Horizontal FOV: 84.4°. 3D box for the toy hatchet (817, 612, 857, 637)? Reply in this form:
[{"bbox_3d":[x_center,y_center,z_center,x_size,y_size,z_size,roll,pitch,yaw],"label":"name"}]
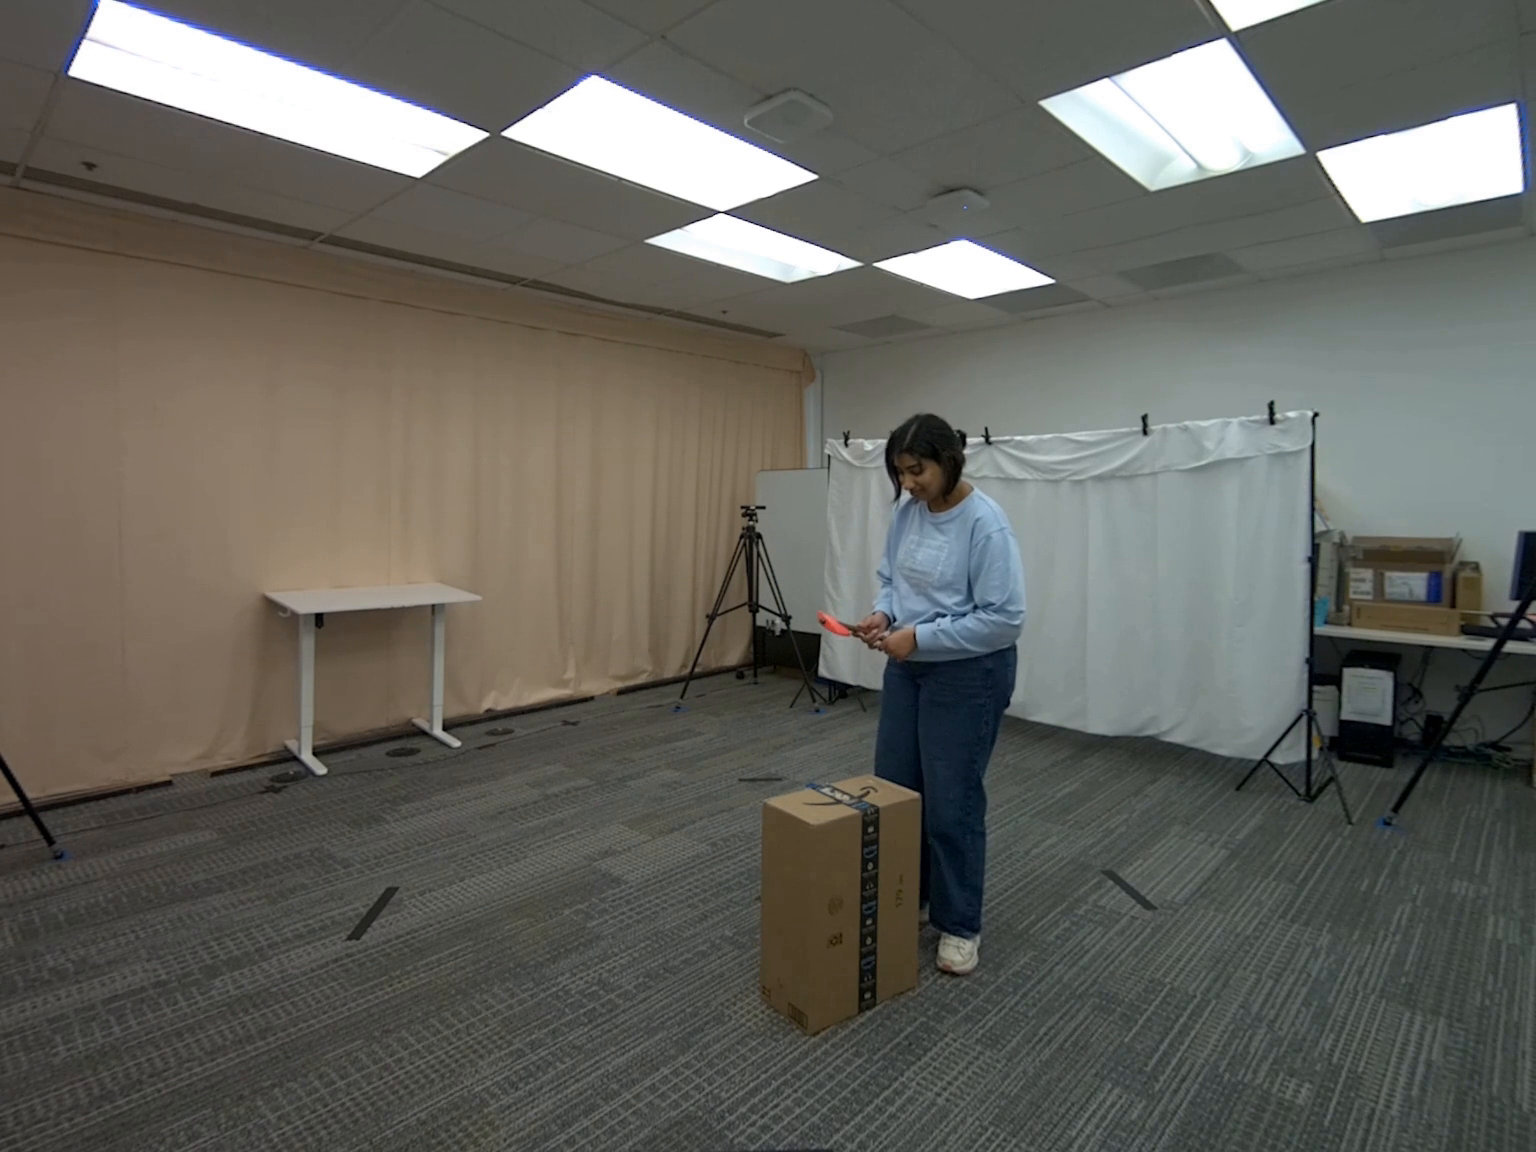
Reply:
[{"bbox_3d":[0.300,0.181,2.464,0.267,0.029,0.133,16,18,-10],"label":"toy hatchet"}]
